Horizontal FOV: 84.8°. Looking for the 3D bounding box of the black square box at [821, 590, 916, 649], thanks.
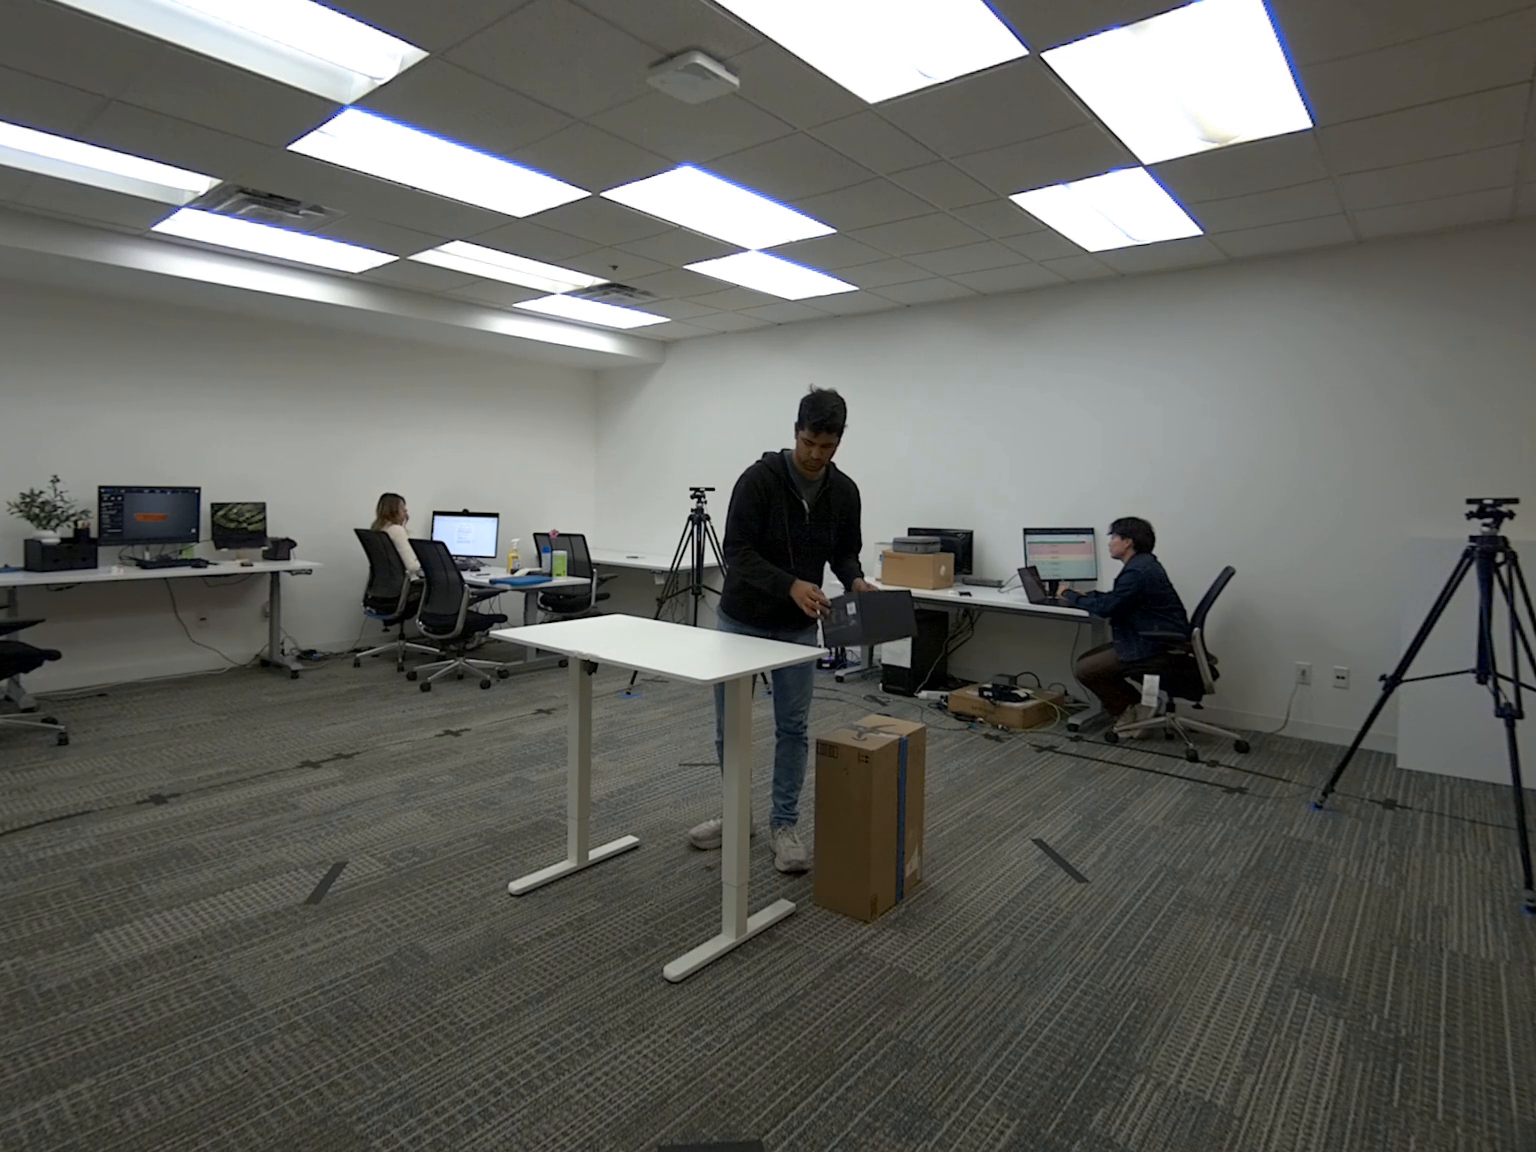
[{"bbox_3d":[0.308,0.145,2.811,0.221,0.158,0.220,0,-13,-33],"label":"black square box"}]
